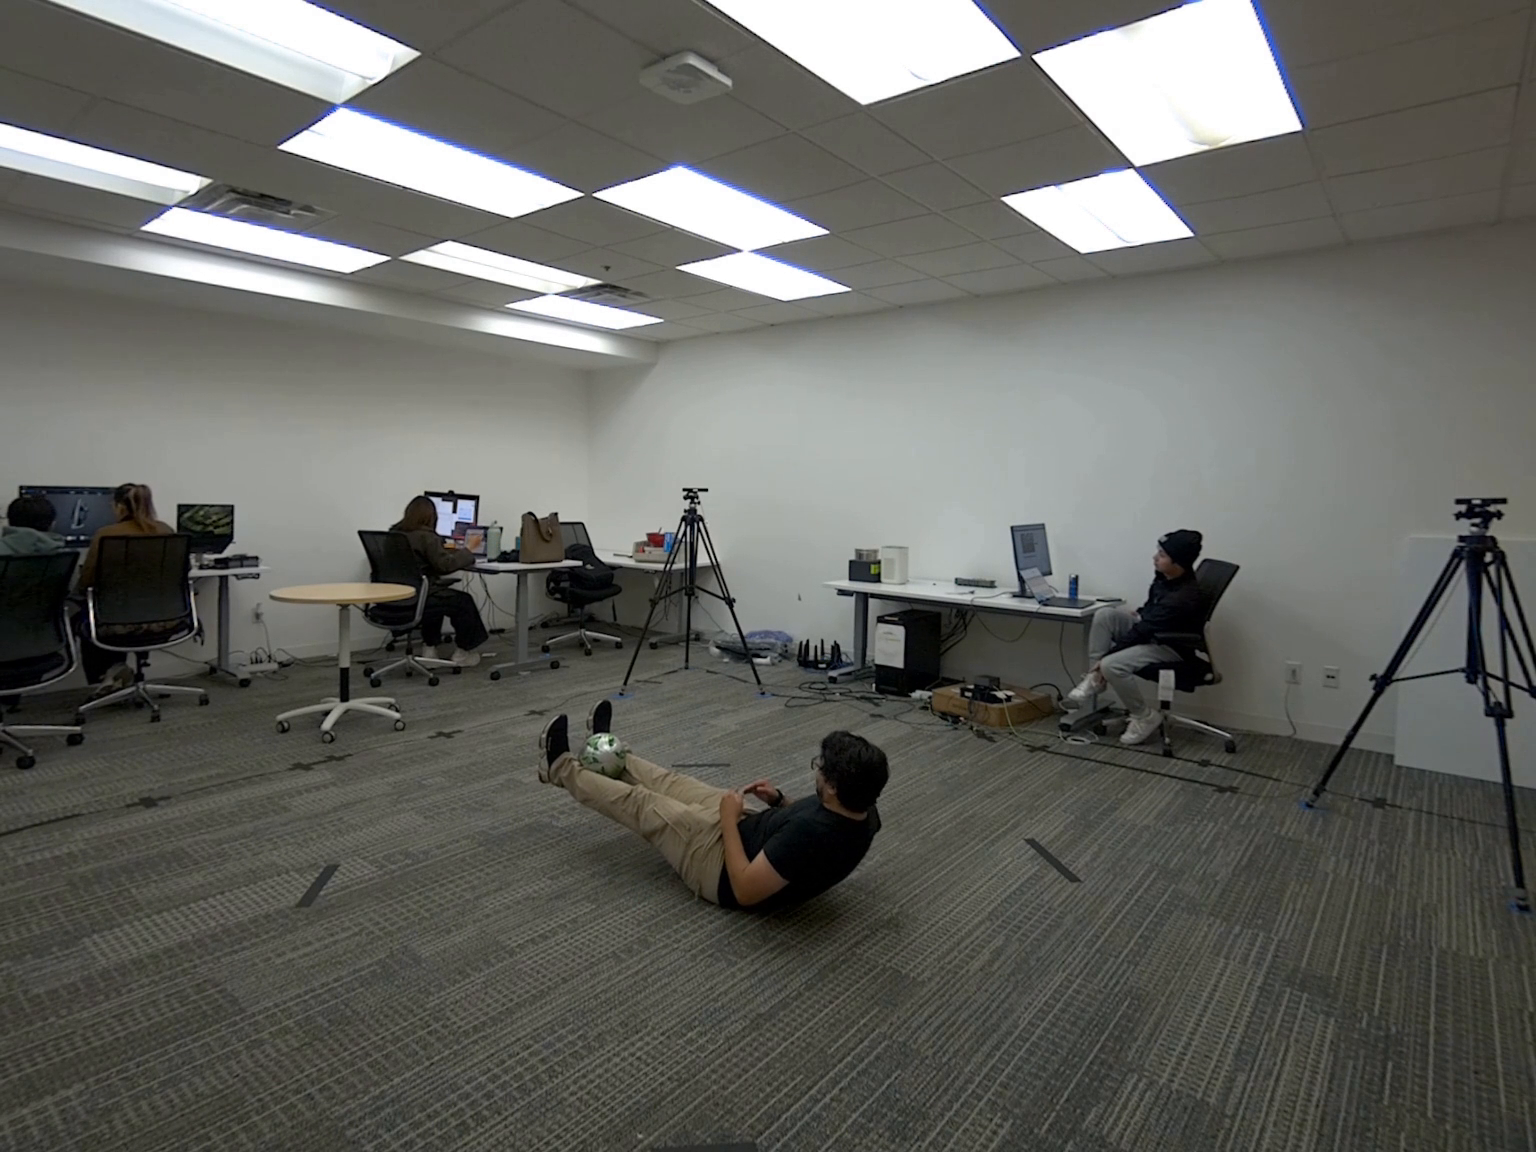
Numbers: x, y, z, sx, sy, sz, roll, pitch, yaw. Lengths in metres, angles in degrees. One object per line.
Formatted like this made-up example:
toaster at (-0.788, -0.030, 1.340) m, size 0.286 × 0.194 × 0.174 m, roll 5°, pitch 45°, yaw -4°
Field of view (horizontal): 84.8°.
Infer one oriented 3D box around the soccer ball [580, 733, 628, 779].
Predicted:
soccer ball at (-0.671, 0.716, 3.349) m, size 0.187 × 0.187 × 0.188 m, roll 0°, pitch 4°, yaw -2°
